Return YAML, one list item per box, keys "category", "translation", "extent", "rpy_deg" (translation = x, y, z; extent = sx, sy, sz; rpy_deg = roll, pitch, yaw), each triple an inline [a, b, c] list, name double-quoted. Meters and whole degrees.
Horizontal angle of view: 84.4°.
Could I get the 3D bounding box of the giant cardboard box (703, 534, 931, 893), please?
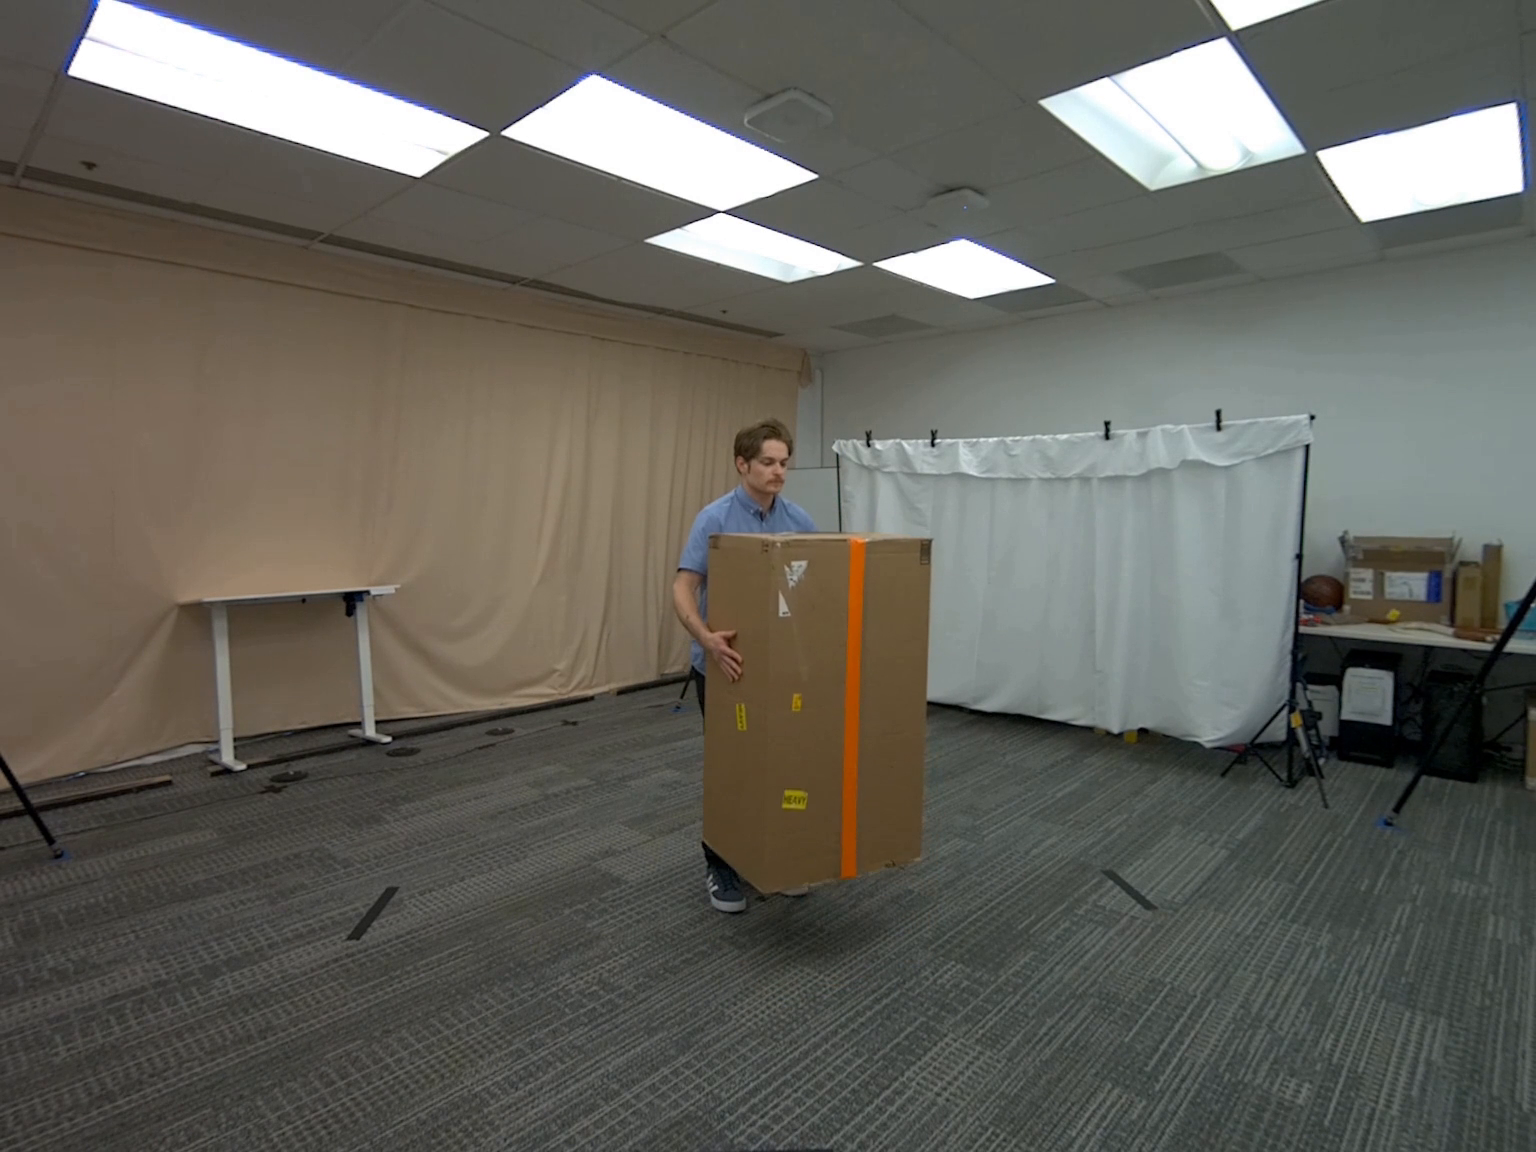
- category: "giant cardboard box"
  translation: [0.155, 0.390, 2.687]
  extent: [0.563, 1.024, 0.438]
  rpy_deg: [-1, 4, -28]
